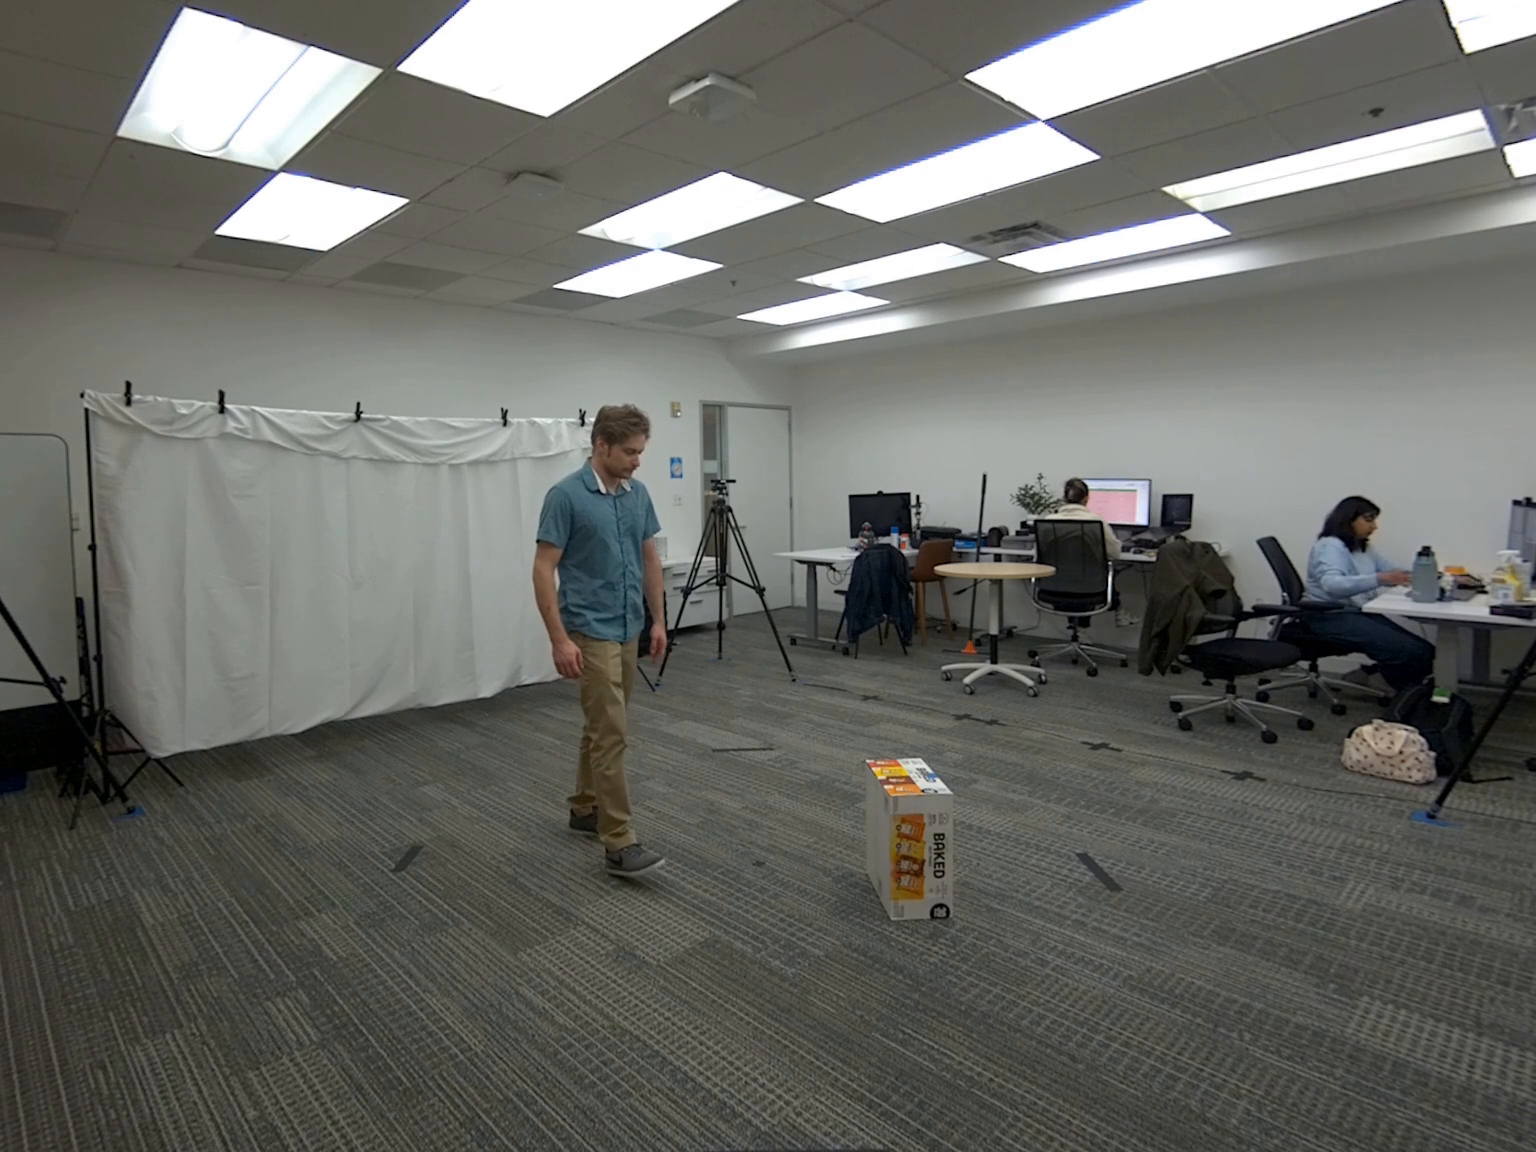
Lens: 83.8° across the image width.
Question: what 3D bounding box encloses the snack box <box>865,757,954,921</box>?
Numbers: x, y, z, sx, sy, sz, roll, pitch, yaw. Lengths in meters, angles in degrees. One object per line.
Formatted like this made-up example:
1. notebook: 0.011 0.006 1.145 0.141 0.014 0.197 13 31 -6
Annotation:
1. snack box: 0.467 0.868 2.843 0.205 0.404 0.342 -1 5 -4
